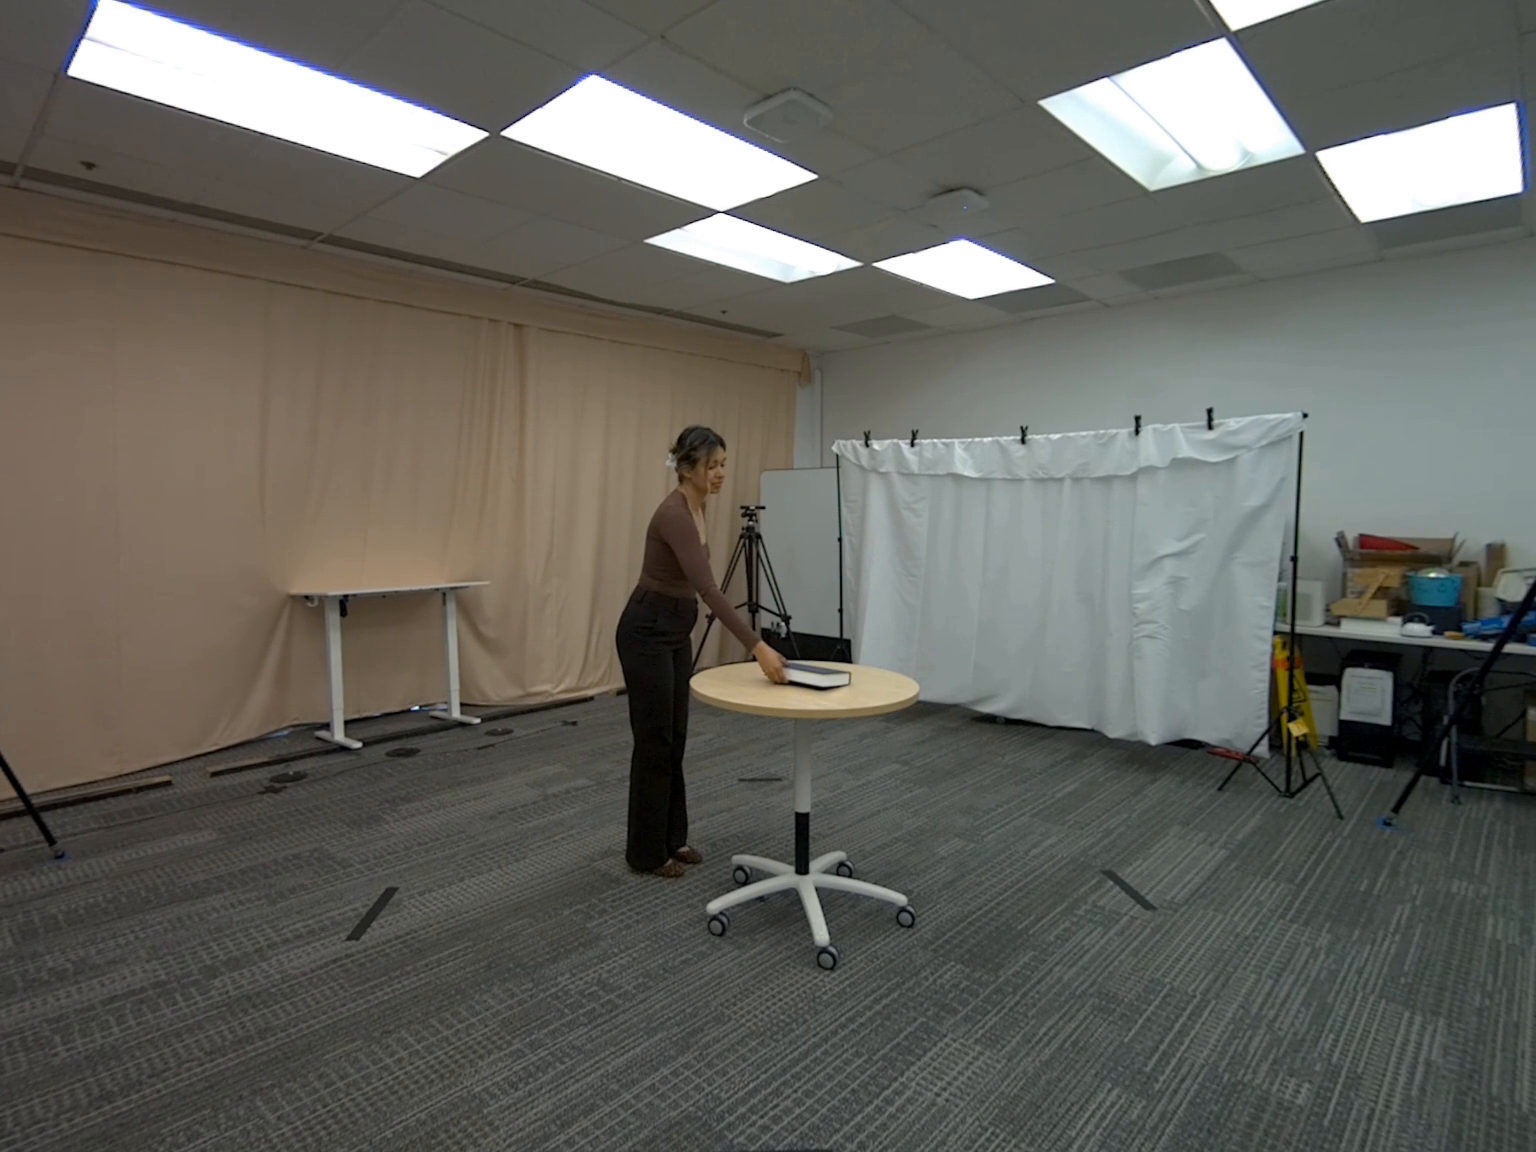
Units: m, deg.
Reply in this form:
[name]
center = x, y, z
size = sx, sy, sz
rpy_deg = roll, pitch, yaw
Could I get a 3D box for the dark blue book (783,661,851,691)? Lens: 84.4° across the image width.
[dark blue book]
center = 0.144, 0.332, 2.822
size = 0.253, 0.045, 0.158
rpy_deg = 5, 1, 41
